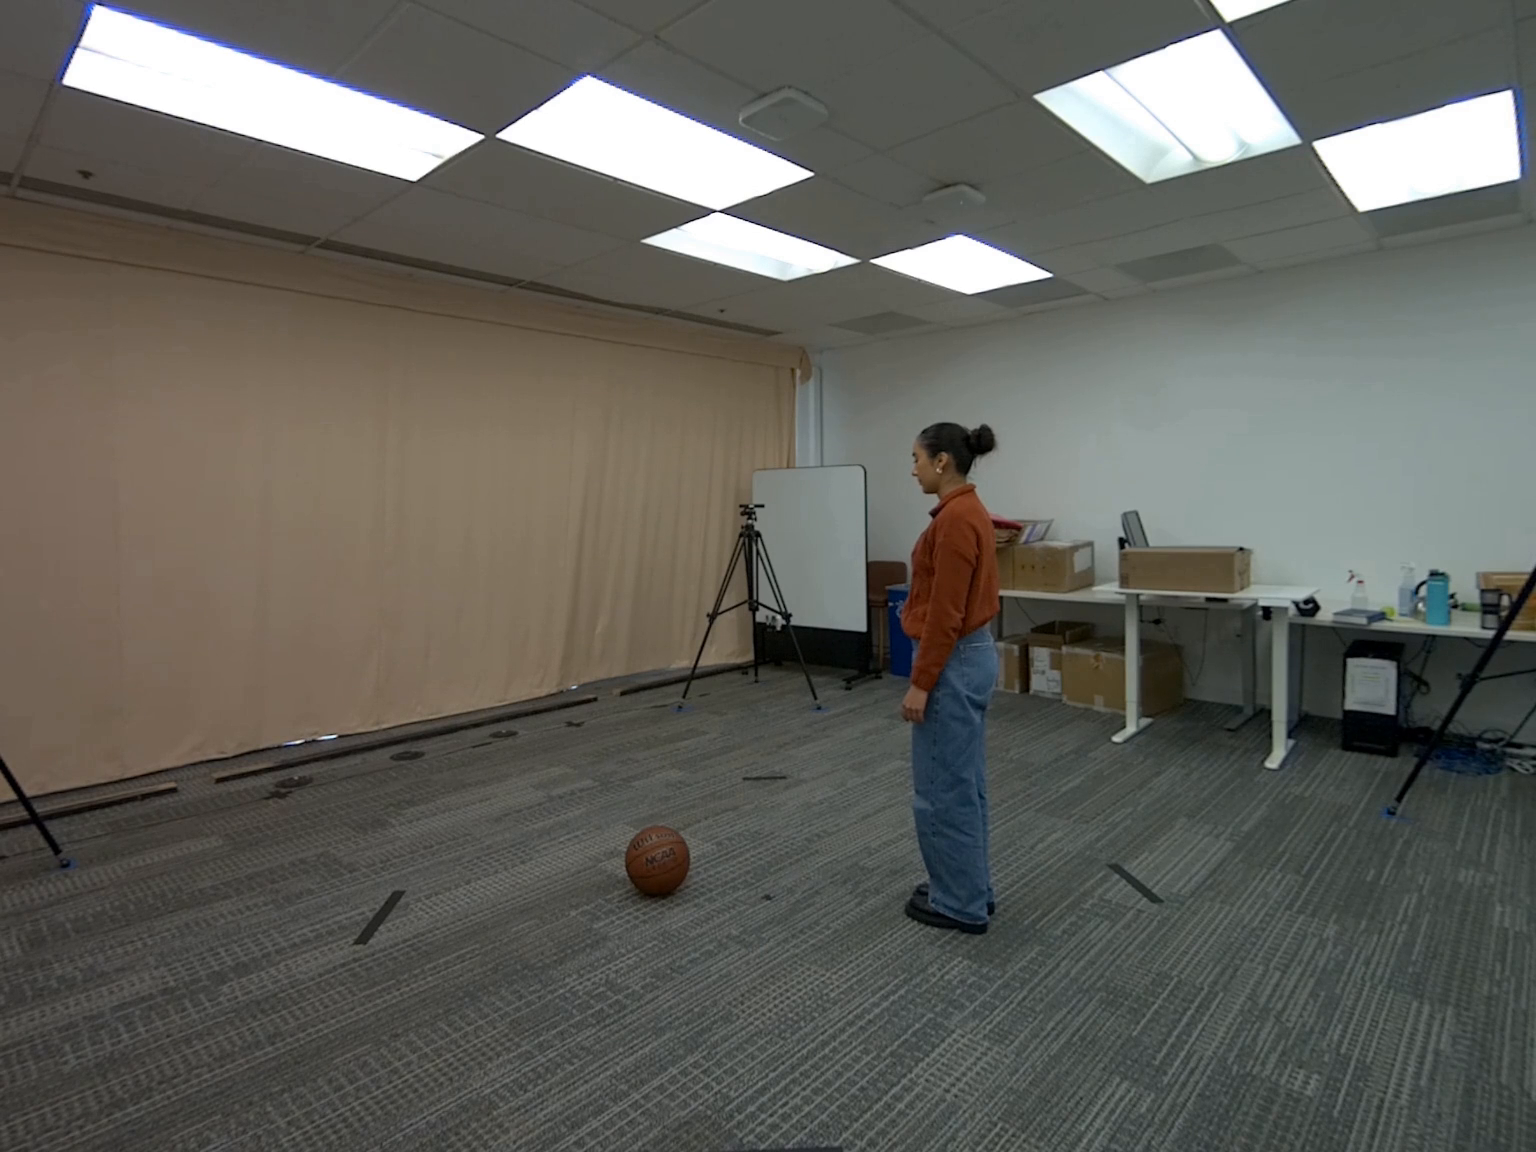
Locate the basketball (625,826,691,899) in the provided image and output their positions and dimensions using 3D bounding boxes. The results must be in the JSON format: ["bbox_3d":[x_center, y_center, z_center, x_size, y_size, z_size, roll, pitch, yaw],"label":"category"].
[{"bbox_3d":[-0.393,1.020,3.036,0.236,0.235,0.237,-1,4,-2],"label":"basketball"}]
